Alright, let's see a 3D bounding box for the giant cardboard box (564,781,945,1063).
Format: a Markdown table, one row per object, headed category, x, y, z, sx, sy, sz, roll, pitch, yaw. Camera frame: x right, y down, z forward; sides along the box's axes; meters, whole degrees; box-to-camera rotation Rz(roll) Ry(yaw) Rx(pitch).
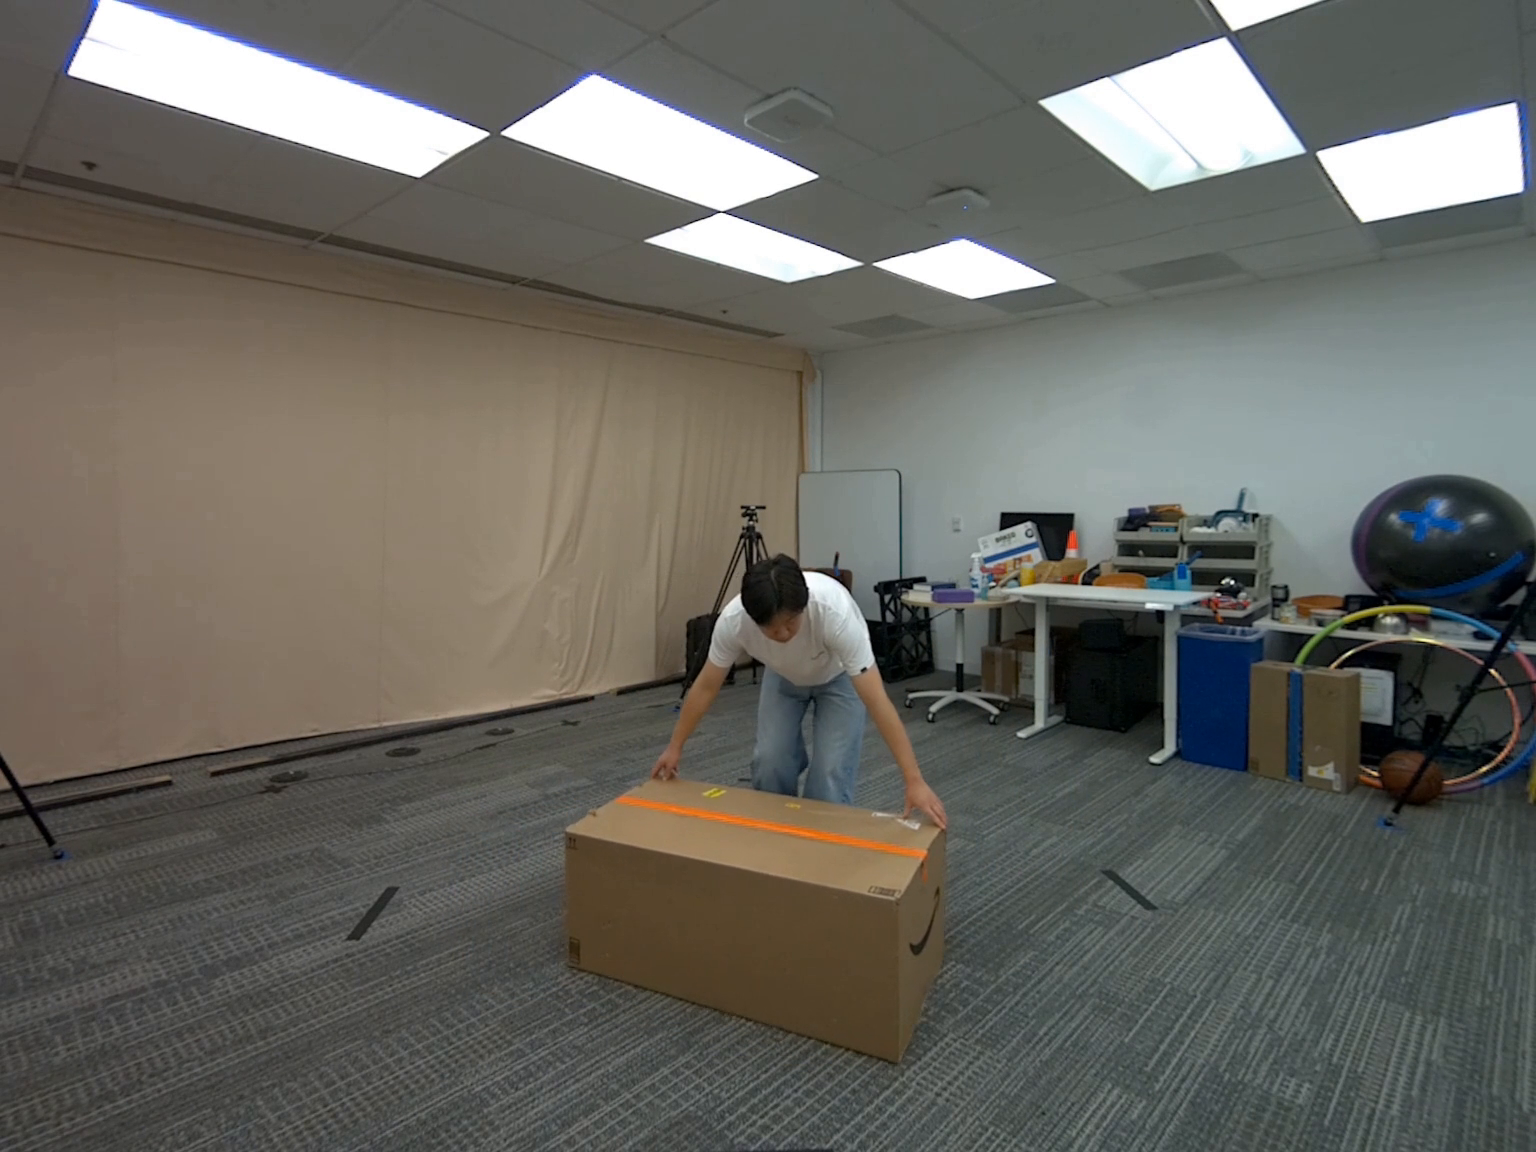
| category | x | y | z | sx | sy | sz | roll | pitch | yaw |
| --- | --- | --- | --- | --- | --- | --- | --- | --- | --- |
| giant cardboard box | -0.039 | 0.964 | 2.557 | 1.053 | 0.425 | 0.564 | 2 | 4 | 26 |
